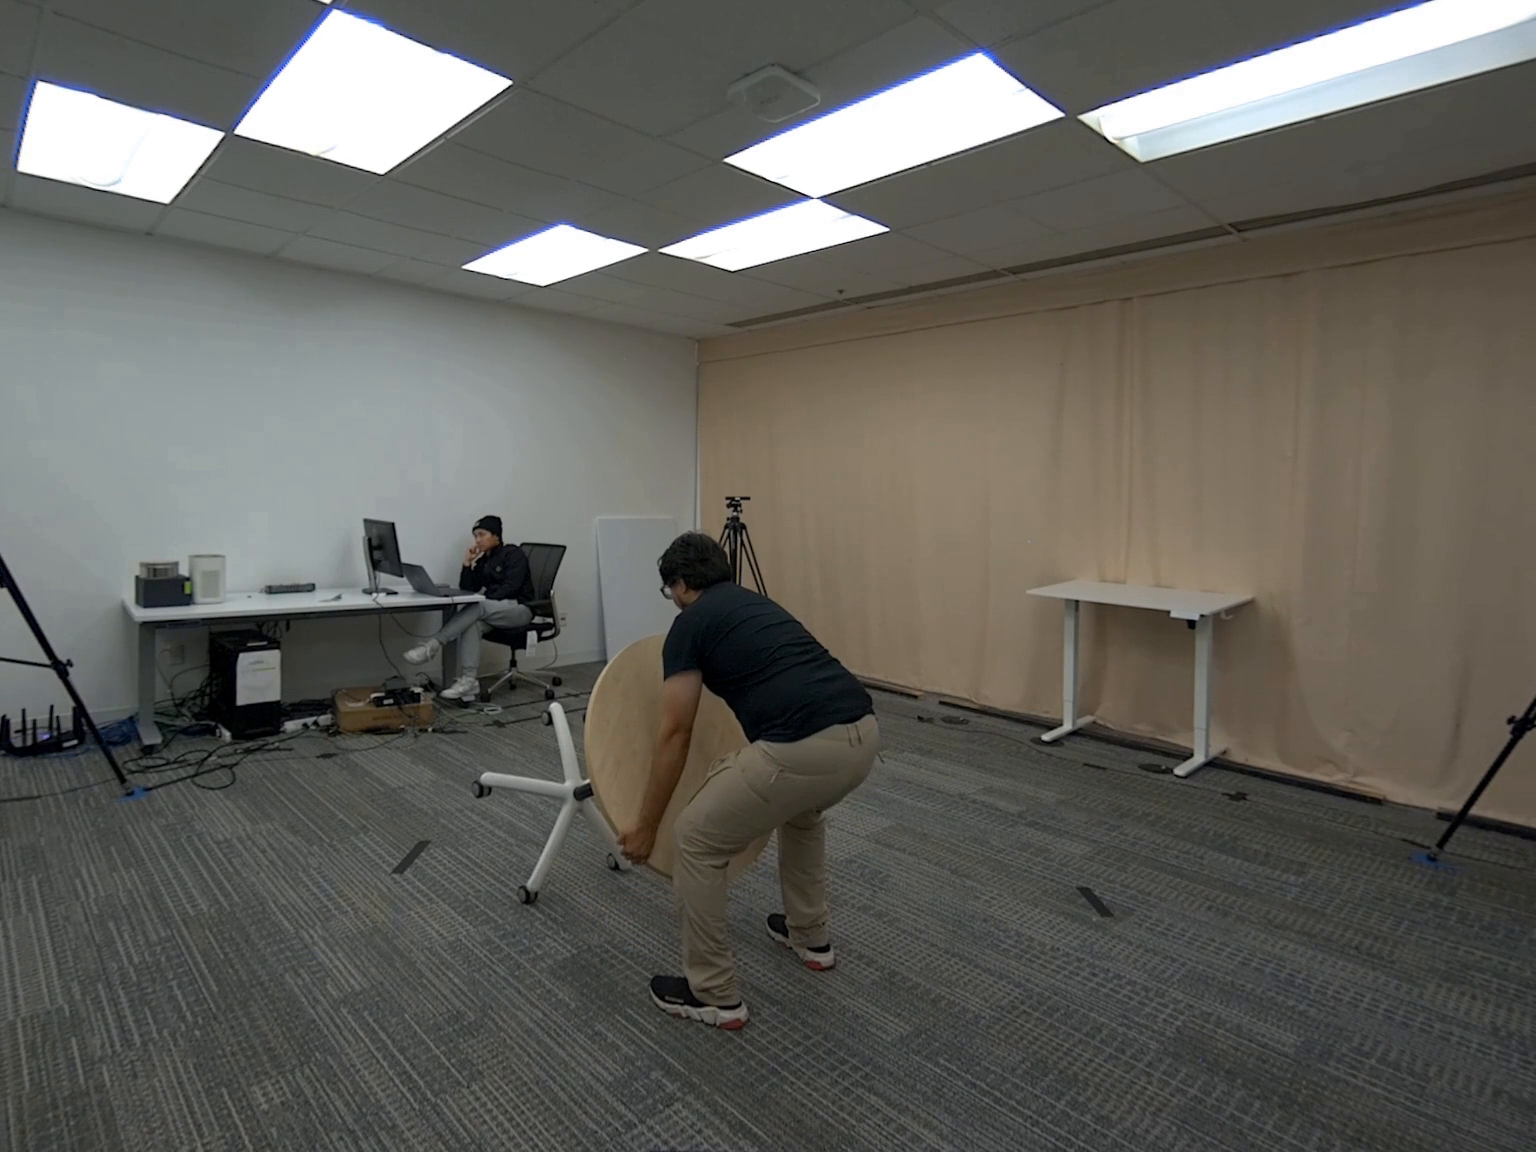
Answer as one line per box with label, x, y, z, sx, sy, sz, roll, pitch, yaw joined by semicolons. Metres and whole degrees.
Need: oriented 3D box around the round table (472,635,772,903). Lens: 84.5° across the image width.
round table;-0.505;0.693;2.865;0.767;0.796;0.793;-3;-21;-47
